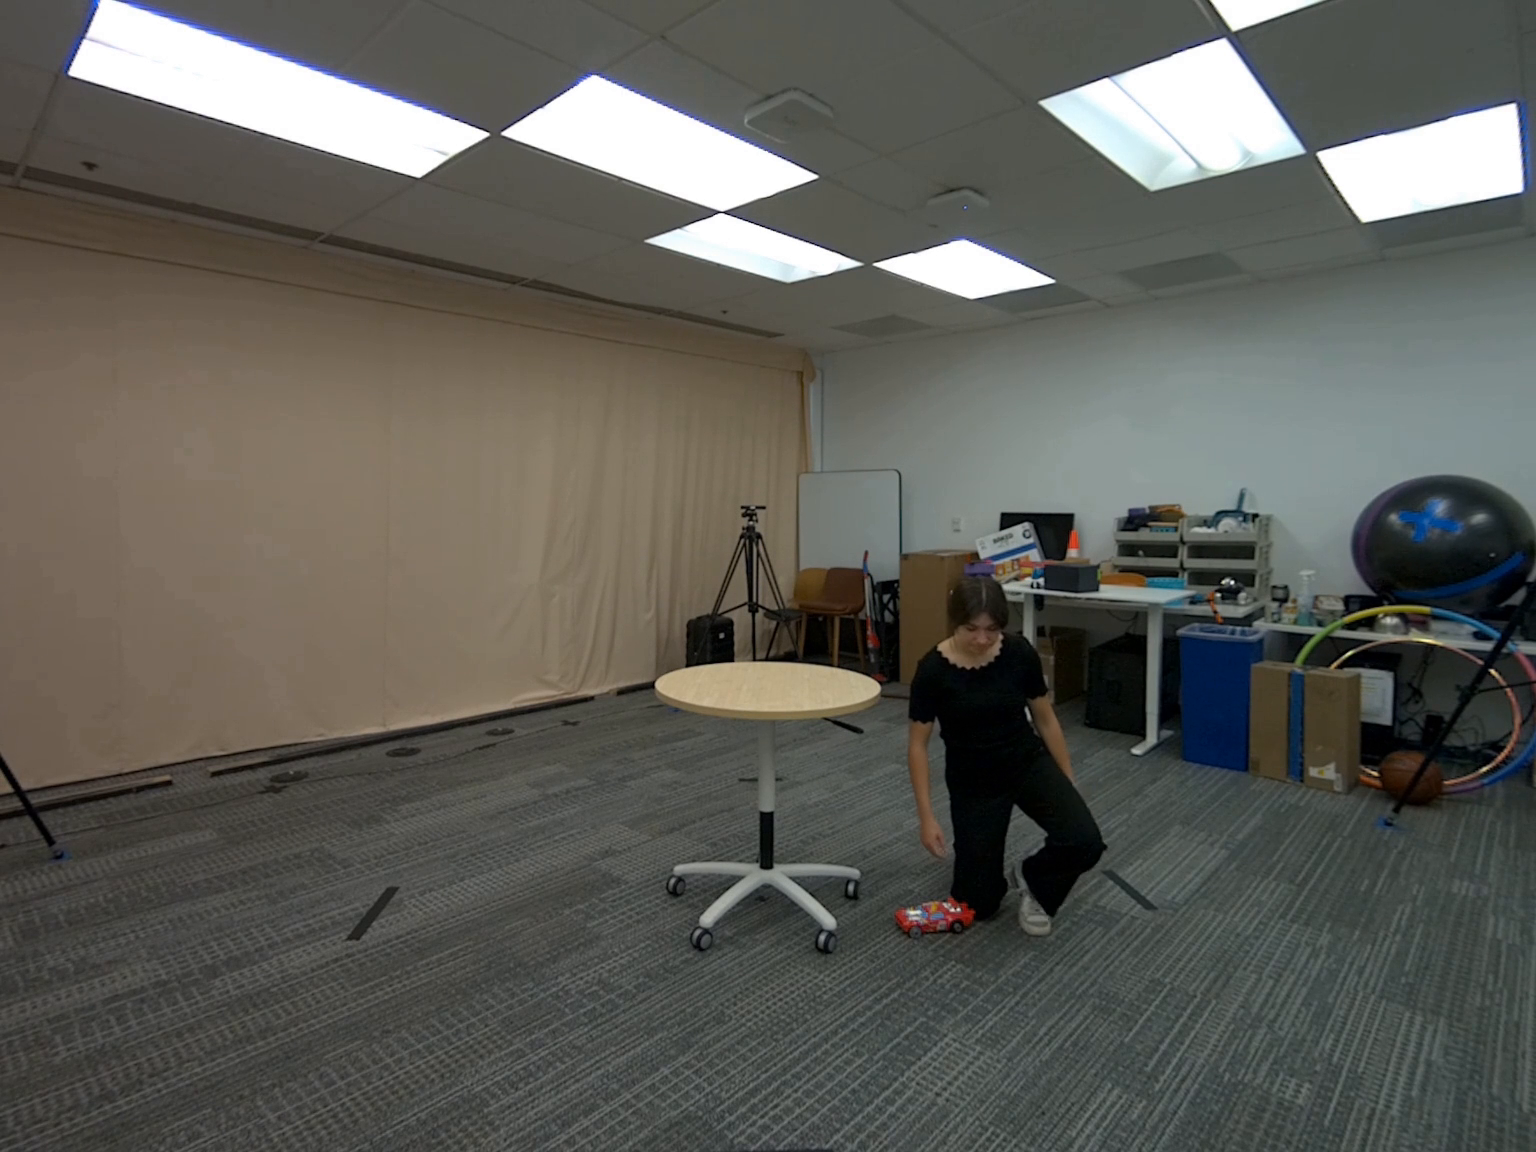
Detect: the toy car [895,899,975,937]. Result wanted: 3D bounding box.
[{"bbox_3d":[0.559,1.133,2.767,0.252,0.083,0.132,-12,6,-9],"label":"toy car"}]
